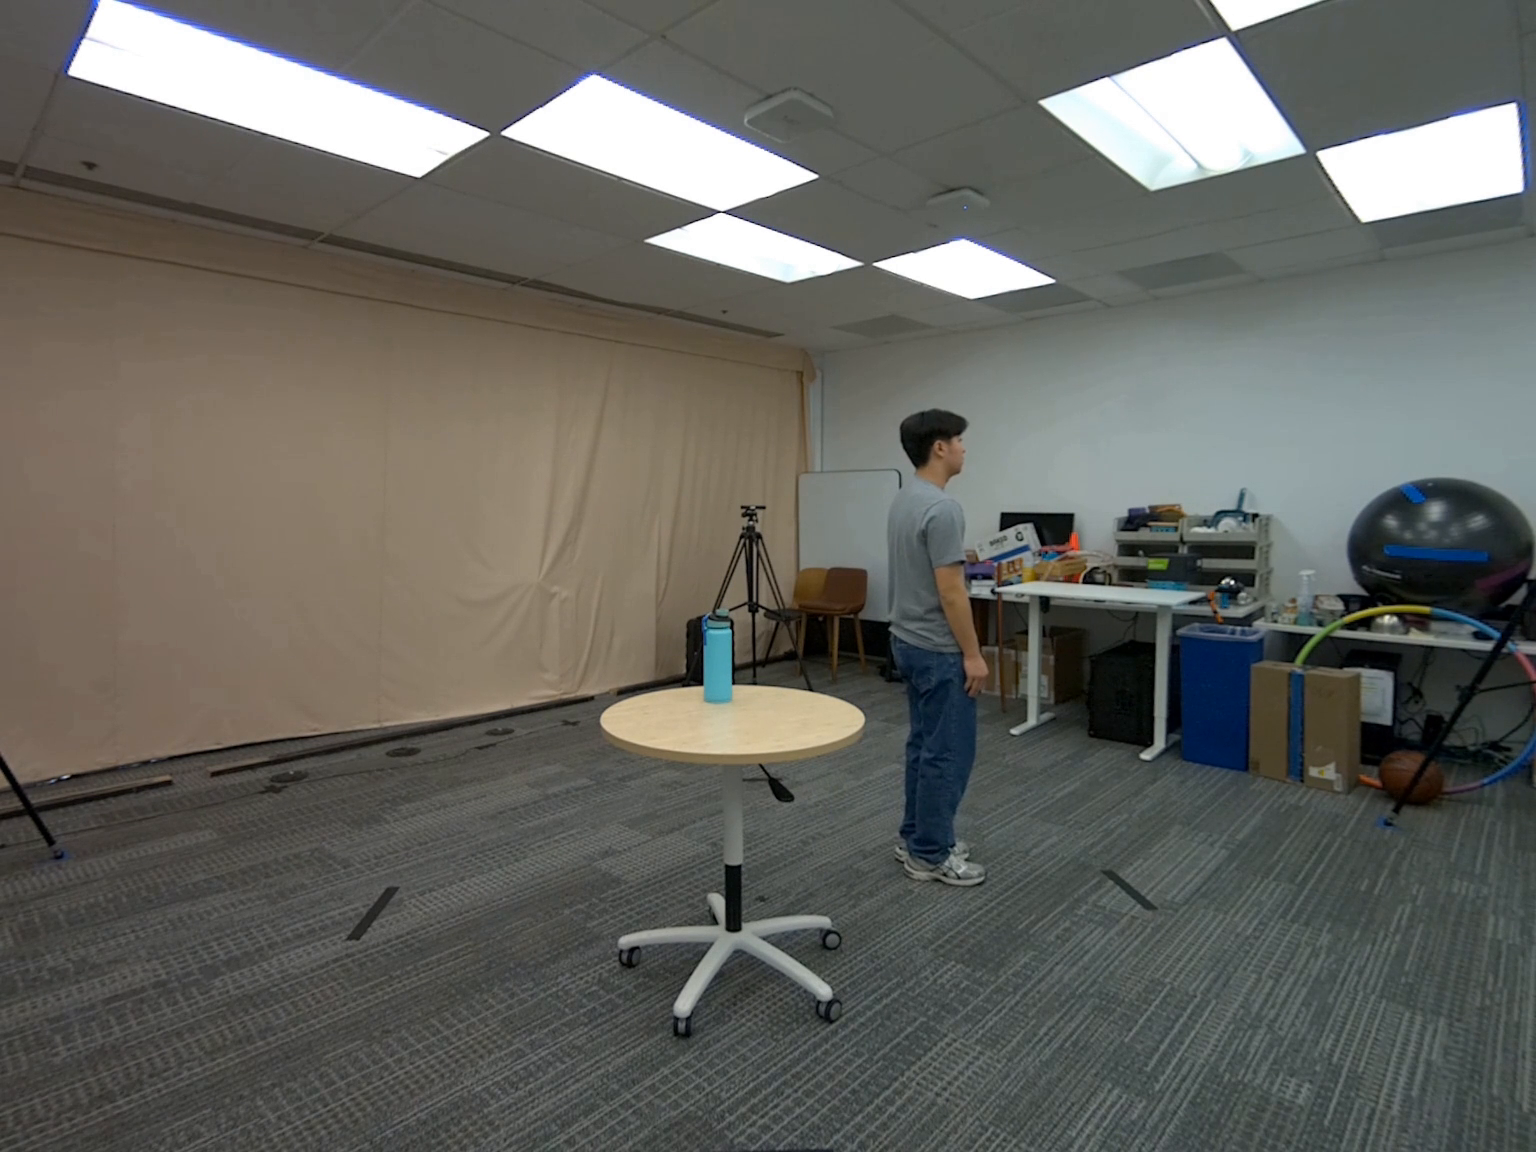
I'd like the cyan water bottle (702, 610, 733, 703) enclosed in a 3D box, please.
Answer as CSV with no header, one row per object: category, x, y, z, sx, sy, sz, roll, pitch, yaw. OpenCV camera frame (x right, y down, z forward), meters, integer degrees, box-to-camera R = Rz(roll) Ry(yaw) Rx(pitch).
cyan water bottle,-0.157,0.251,2.622,0.092,0.283,0.092,-1,2,-2
